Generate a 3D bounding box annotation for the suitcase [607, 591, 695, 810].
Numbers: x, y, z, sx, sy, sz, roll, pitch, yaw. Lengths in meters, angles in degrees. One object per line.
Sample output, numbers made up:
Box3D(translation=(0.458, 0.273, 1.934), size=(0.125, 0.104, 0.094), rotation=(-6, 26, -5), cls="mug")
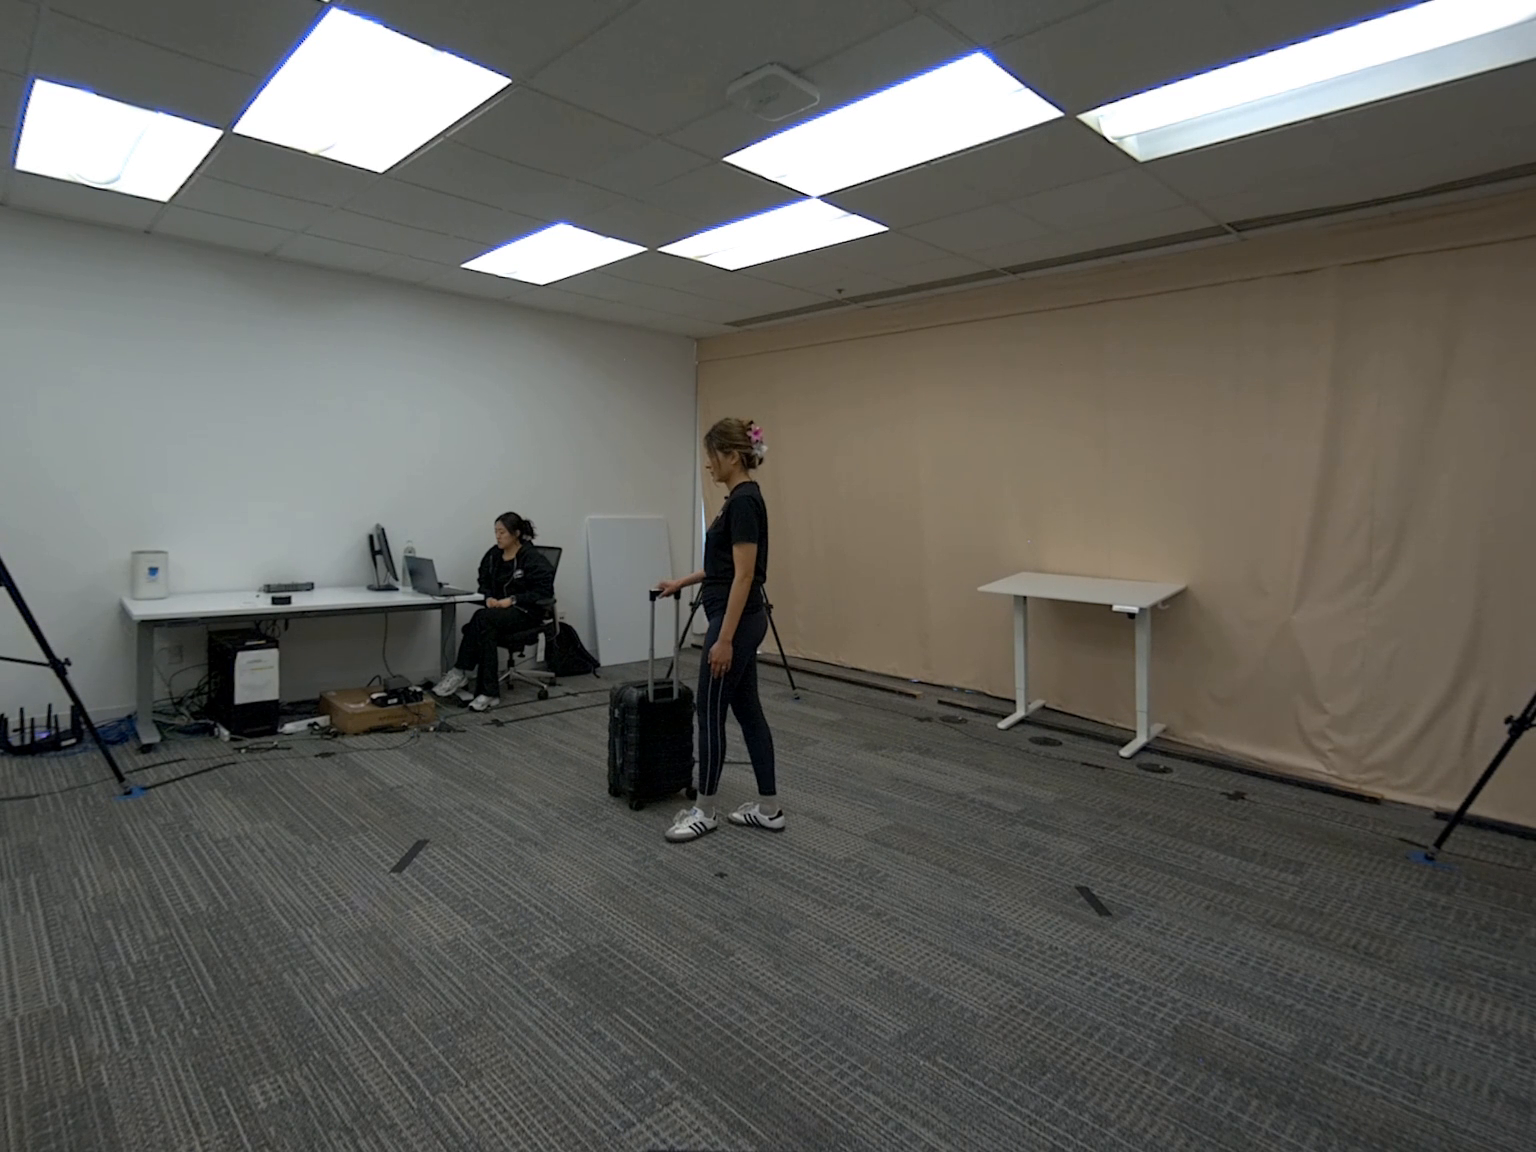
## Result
Box3D(translation=(-0.548, 0.552, 3.863), size=(0.375, 0.976, 0.263), rotation=(-2, 4, -37), cls="suitcase")
